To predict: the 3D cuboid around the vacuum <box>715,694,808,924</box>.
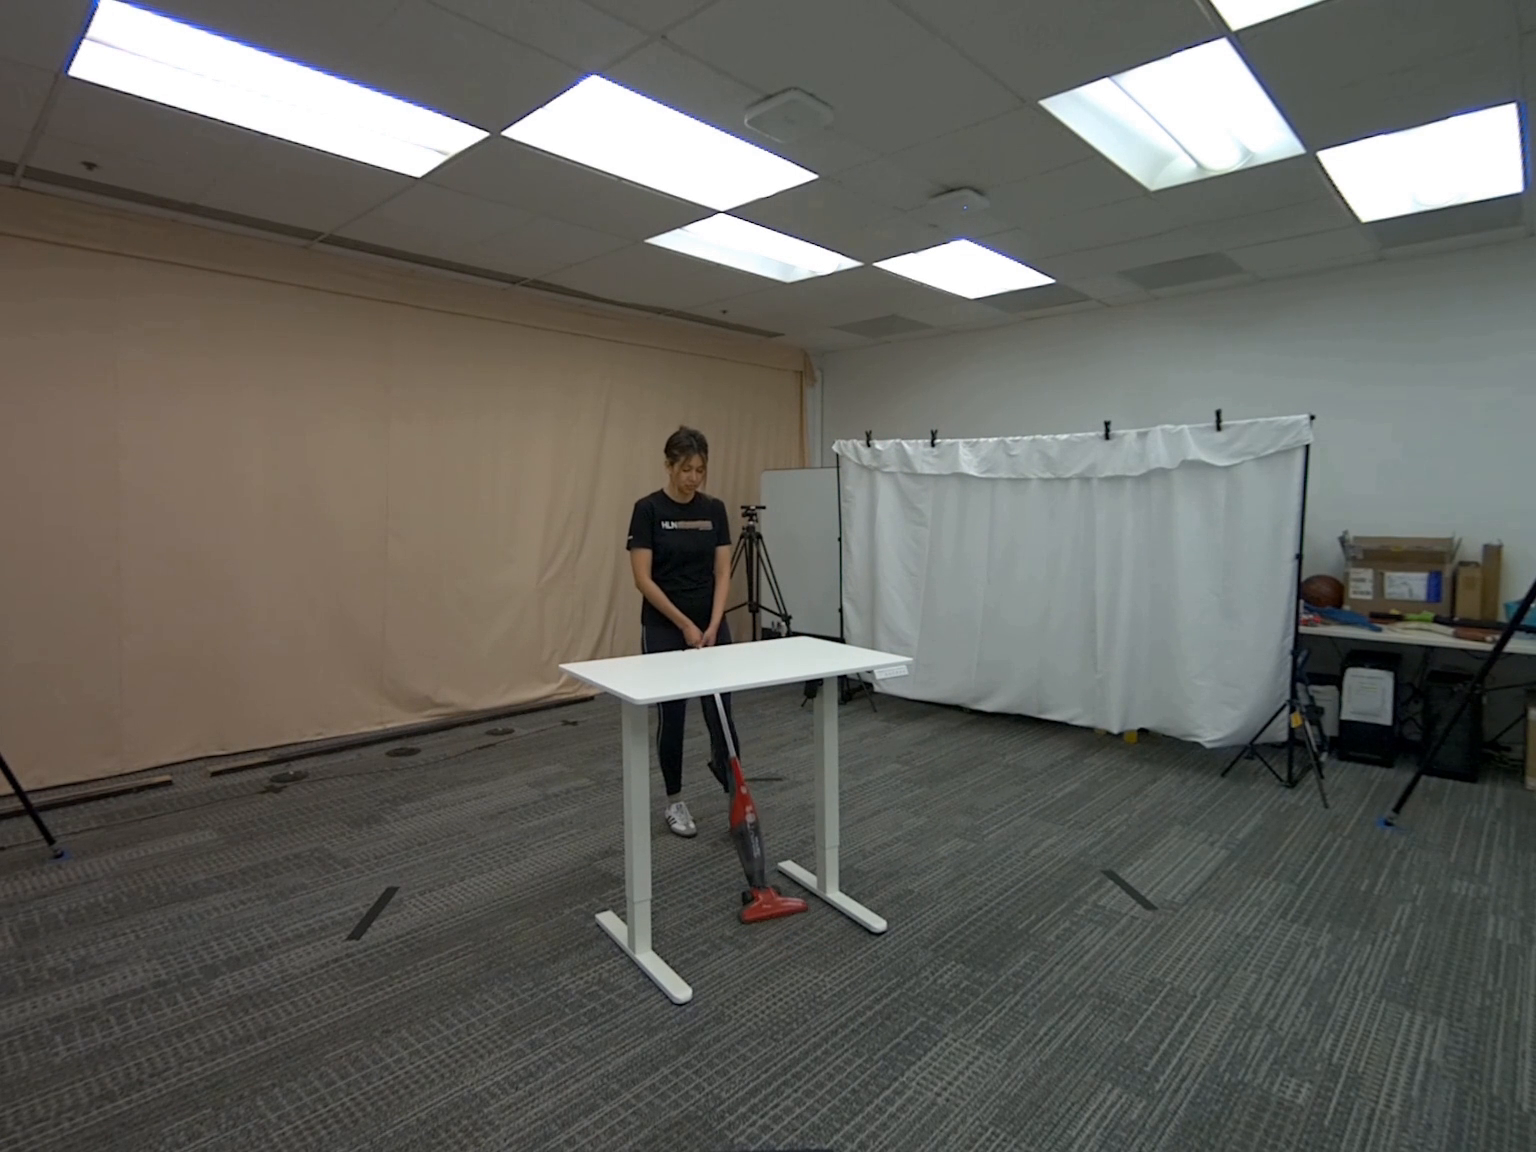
[{"bbox_3d":[-0.131,0.724,3.186,0.246,1.077,0.144,3,-40,-28],"label":"vacuum"}]
